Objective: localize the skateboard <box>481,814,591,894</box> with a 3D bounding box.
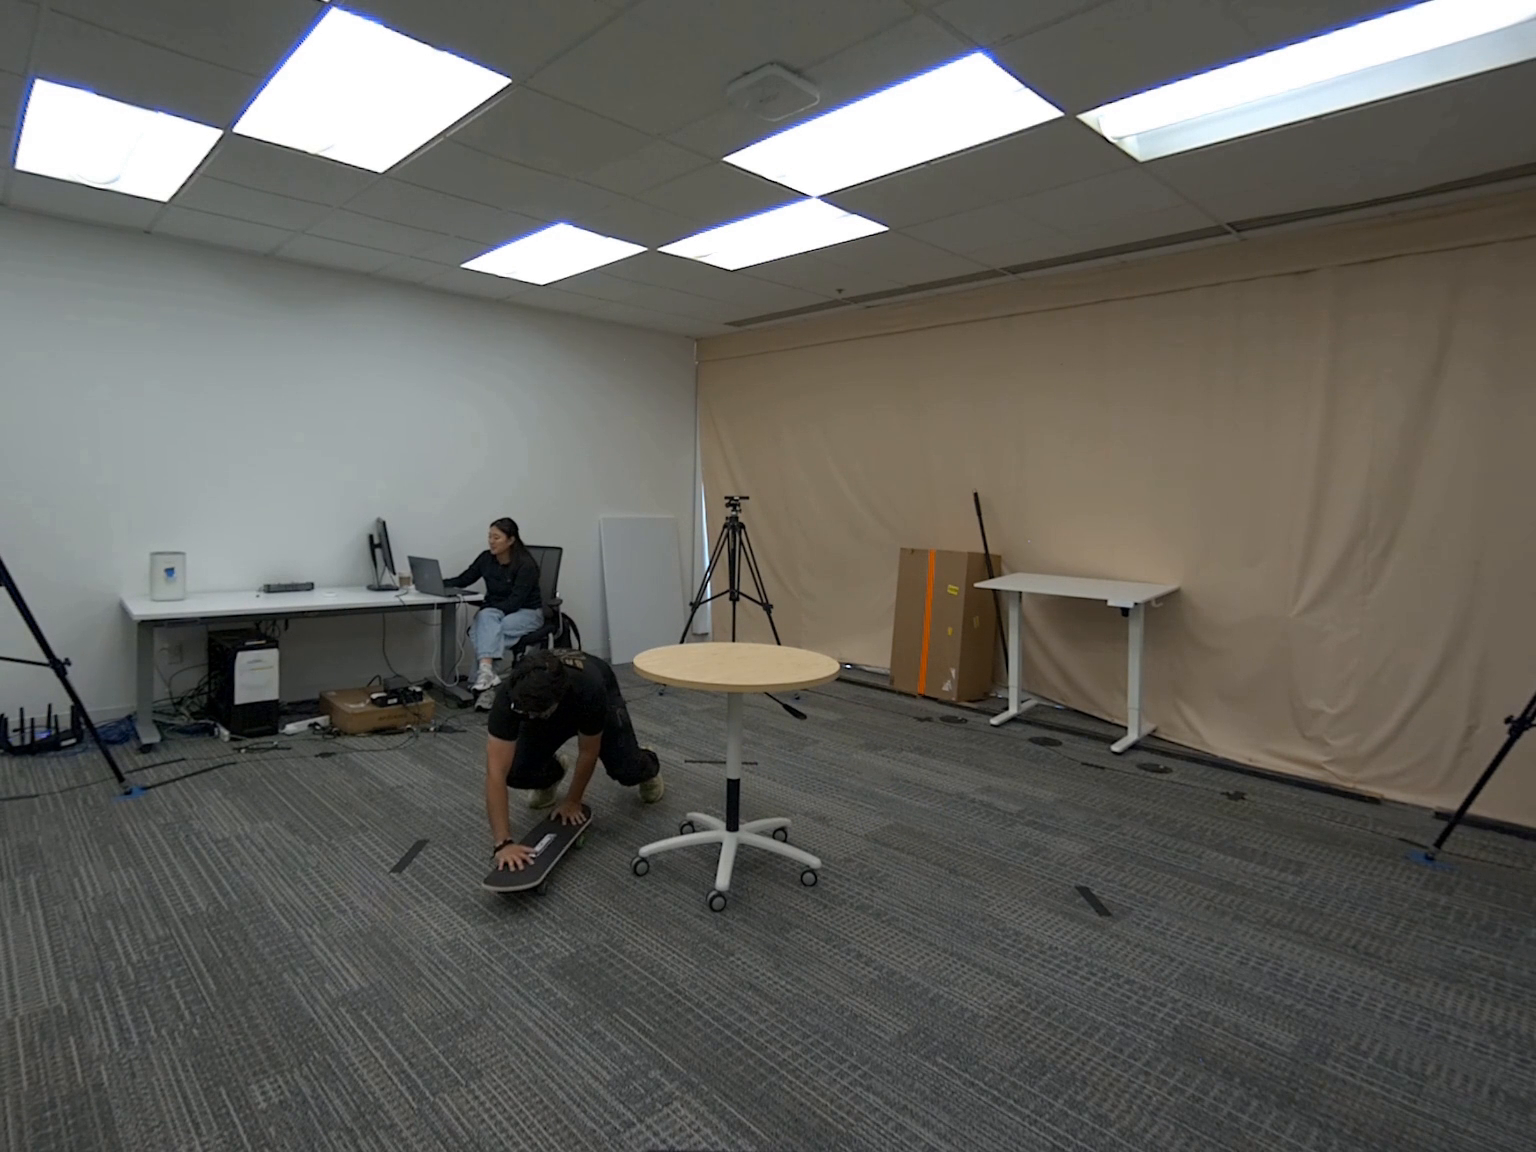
[{"bbox_3d":[-0.849,1.033,3.122,0.194,0.110,0.782,-1,5,6],"label":"skateboard"}]
